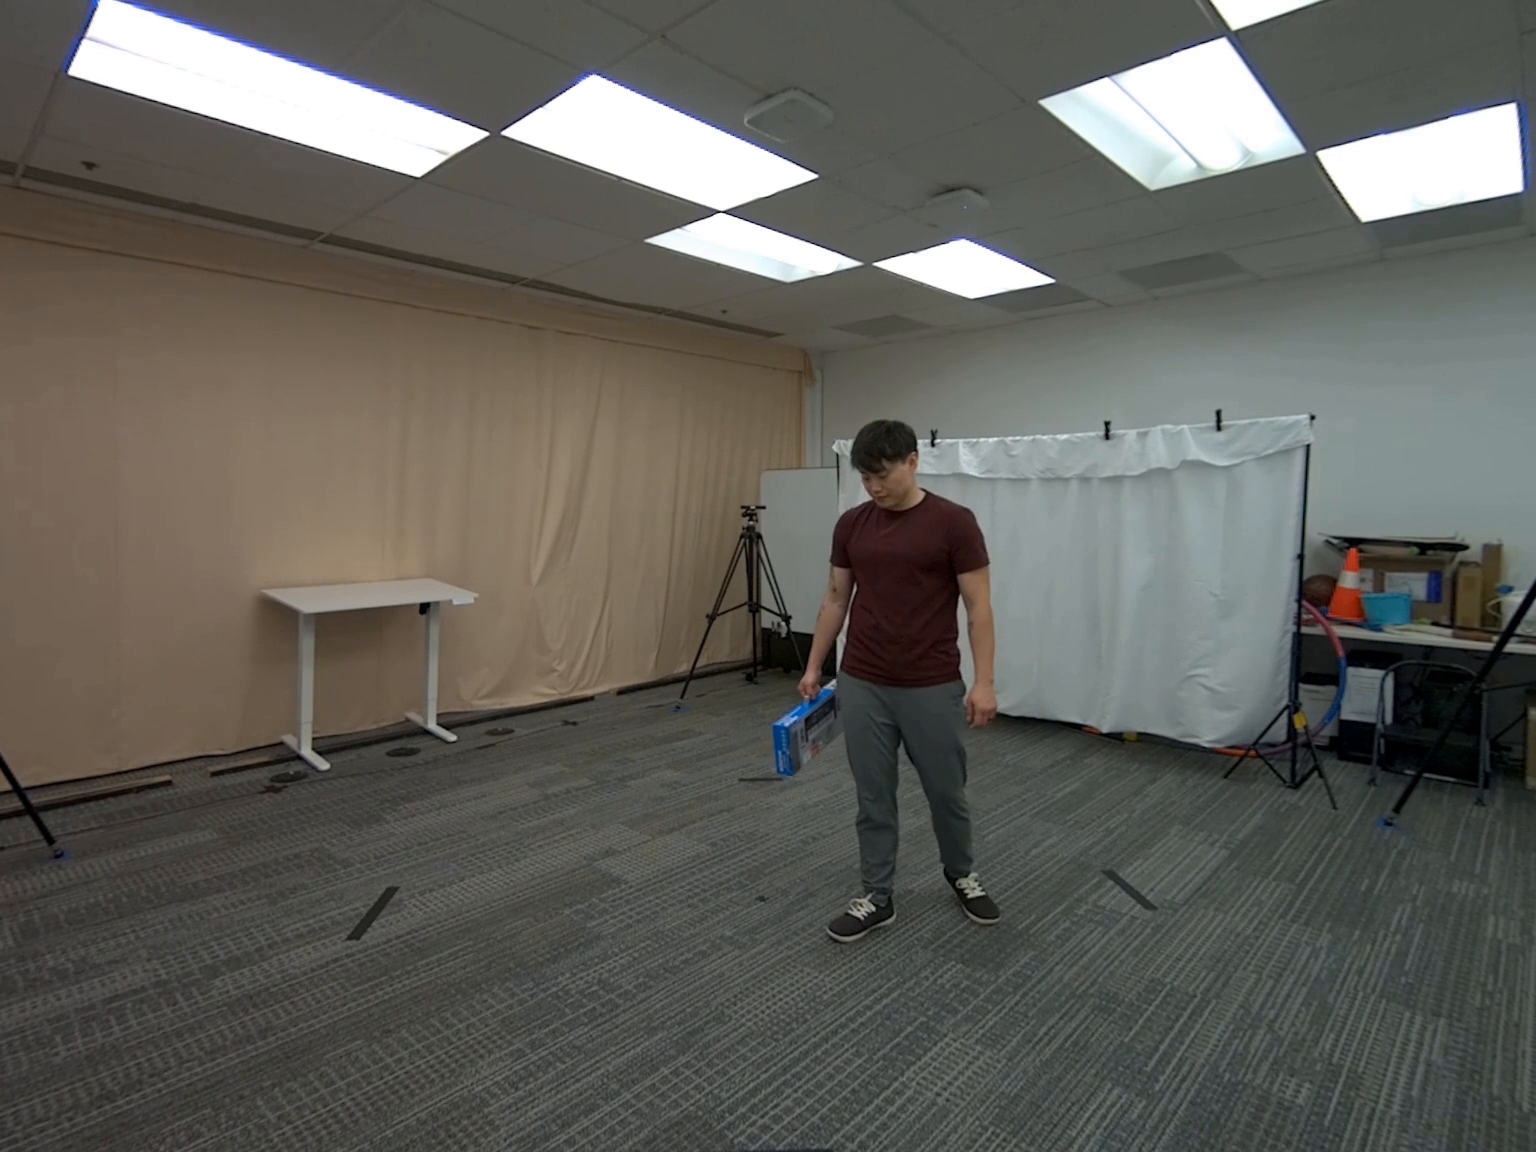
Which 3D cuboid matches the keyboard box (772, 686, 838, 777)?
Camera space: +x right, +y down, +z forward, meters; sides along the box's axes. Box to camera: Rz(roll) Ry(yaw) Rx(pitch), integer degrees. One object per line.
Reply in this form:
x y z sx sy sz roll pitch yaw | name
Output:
0.165 0.510 2.869 0.061 0.174 0.427 1 14 33 | keyboard box
